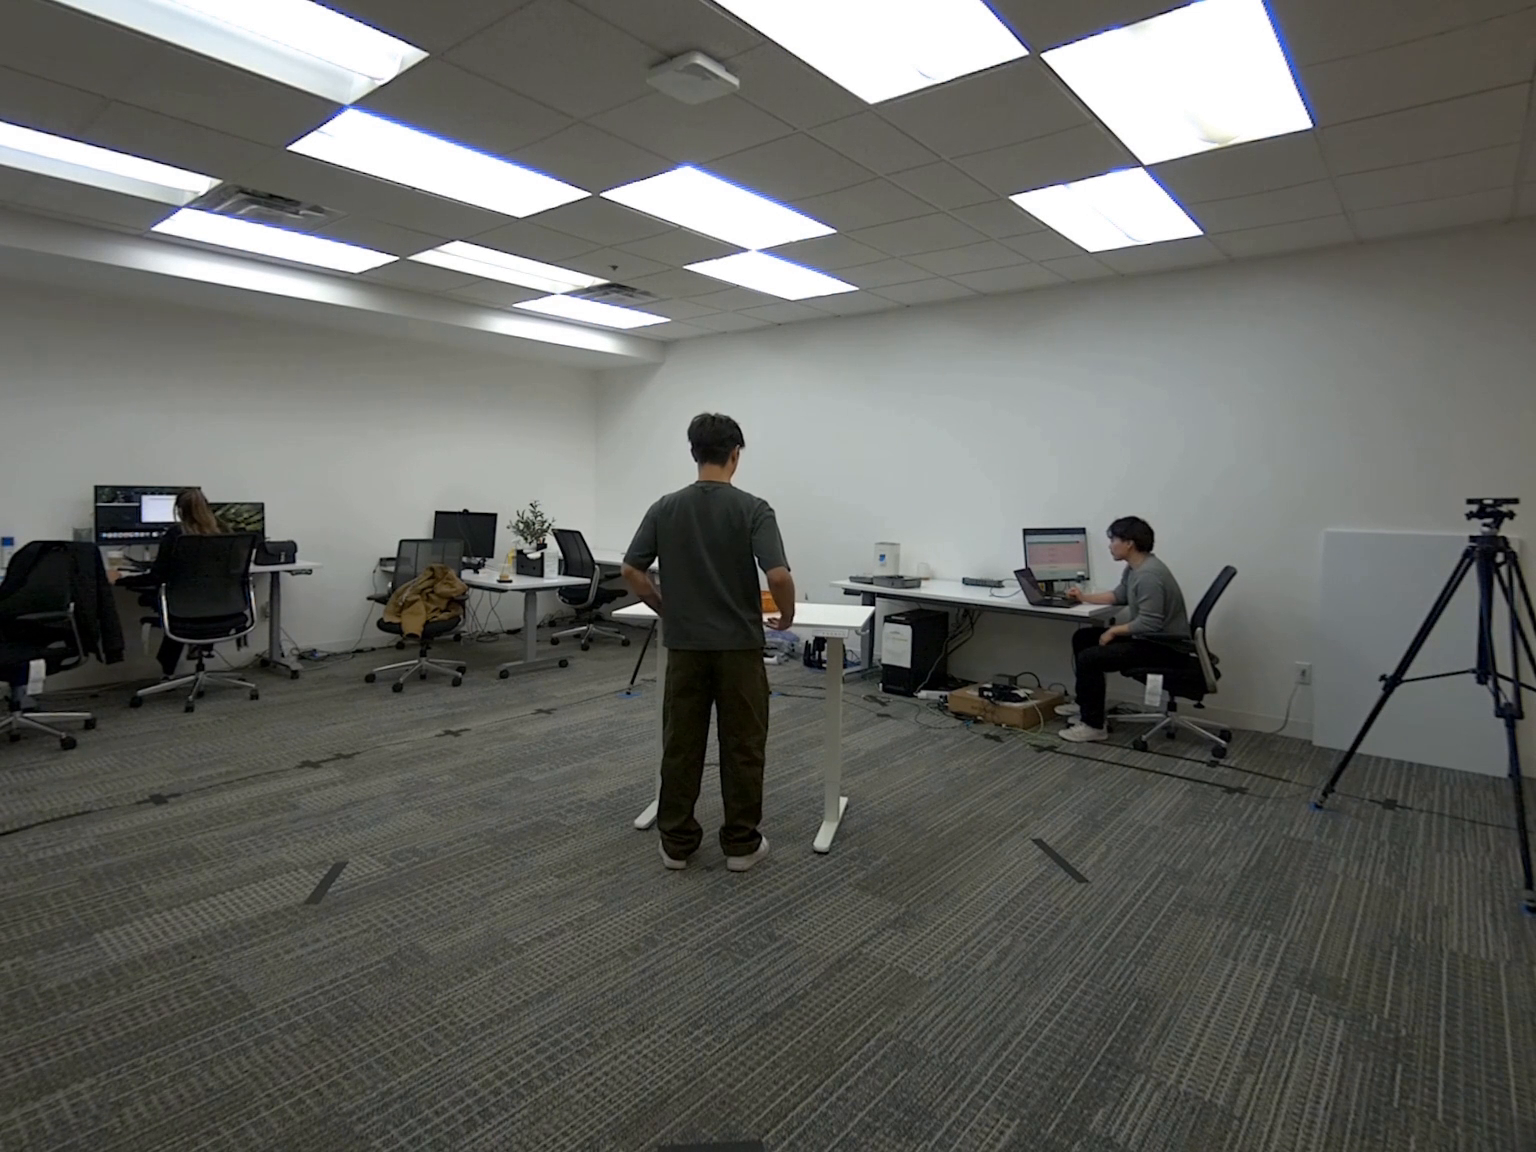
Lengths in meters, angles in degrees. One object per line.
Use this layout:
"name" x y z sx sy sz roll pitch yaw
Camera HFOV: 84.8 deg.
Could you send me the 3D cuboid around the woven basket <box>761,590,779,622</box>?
"woven basket" -0.082 0.107 3.595 0.357 0.073 0.248 3 5 18
